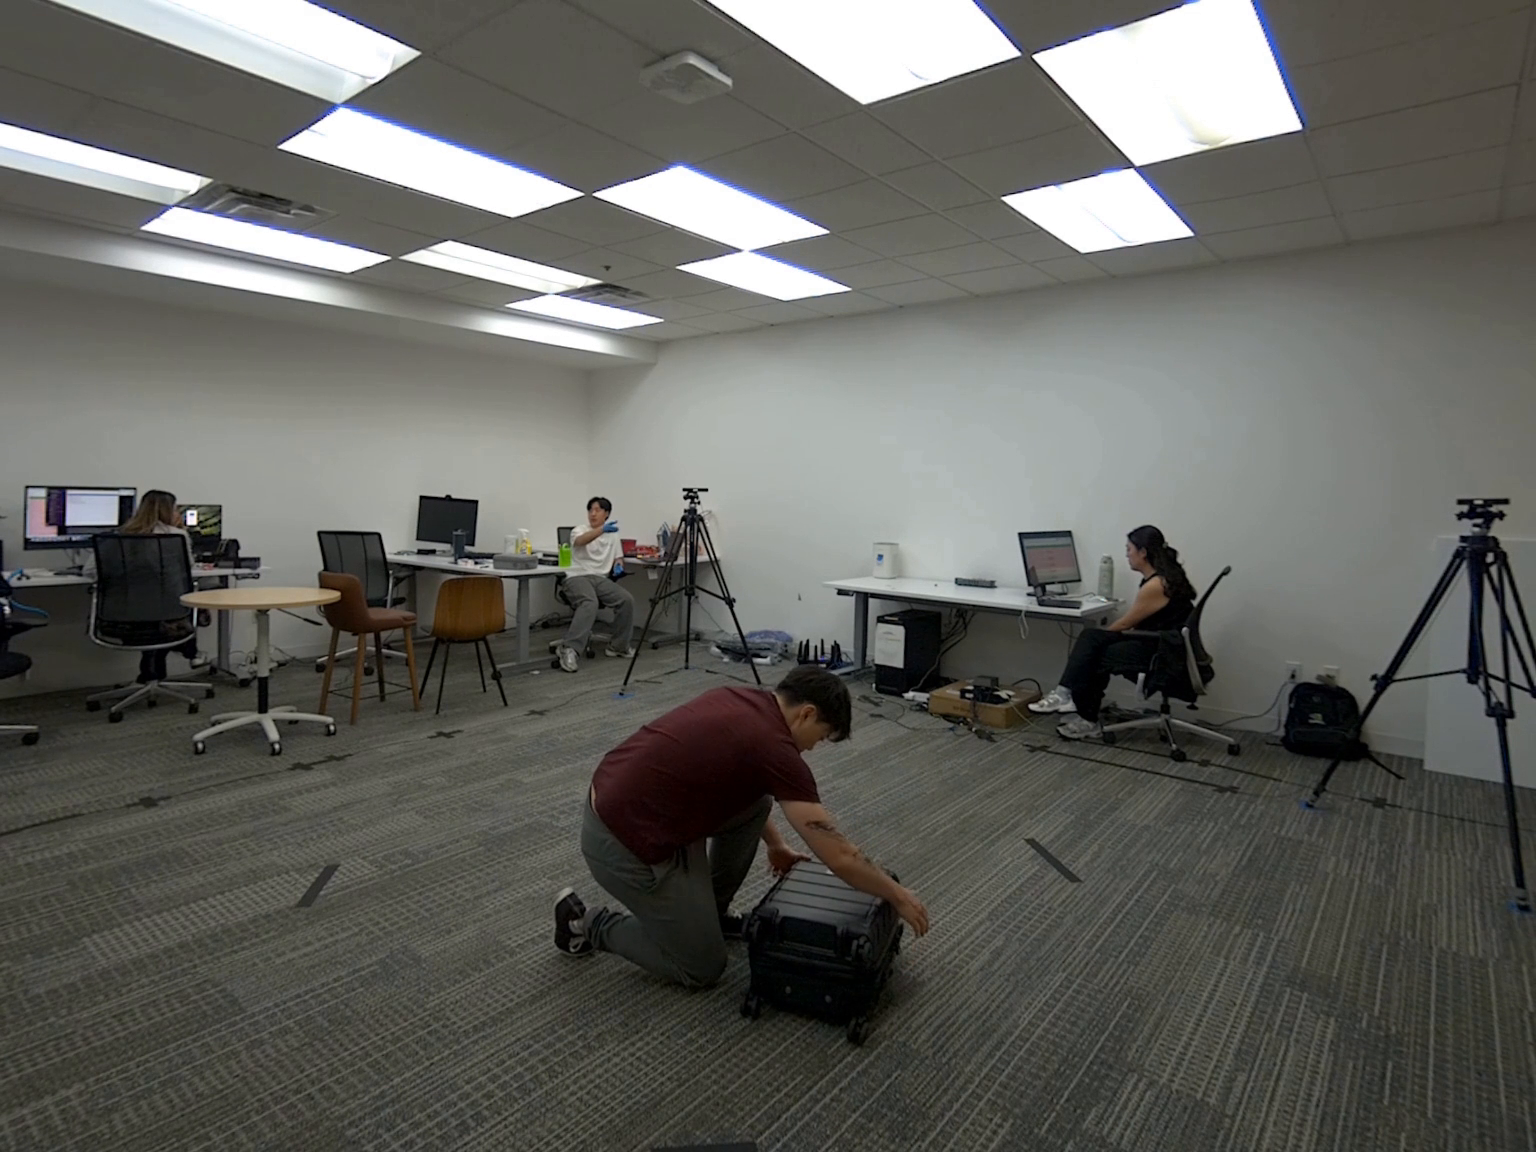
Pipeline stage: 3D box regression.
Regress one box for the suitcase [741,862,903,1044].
[{"bbox_3d":[0.228,1.004,2.617,0.391,0.256,0.963,0,5,17],"label":"suitcase"}]
